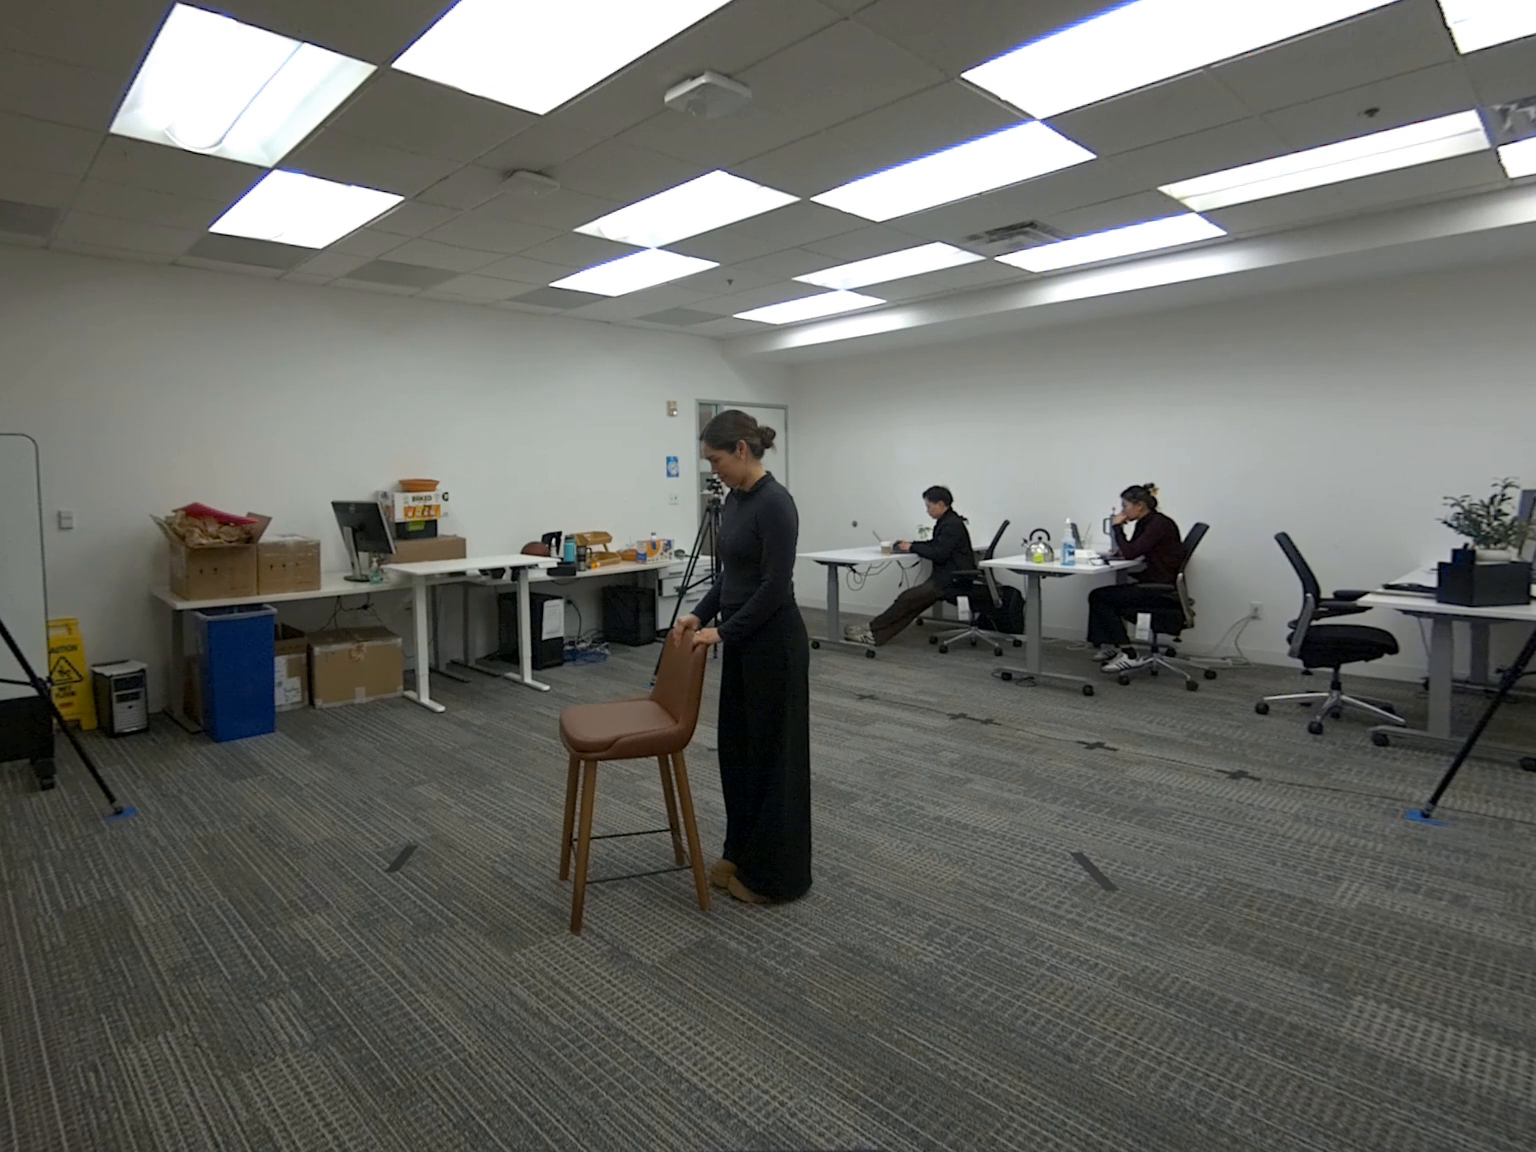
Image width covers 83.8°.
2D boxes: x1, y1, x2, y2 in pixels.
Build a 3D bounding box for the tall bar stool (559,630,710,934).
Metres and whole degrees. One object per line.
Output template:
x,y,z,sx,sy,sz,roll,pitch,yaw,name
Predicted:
-0.453,0.639,2.861,0.459,0.887,0.466,0,4,-19,tall bar stool
